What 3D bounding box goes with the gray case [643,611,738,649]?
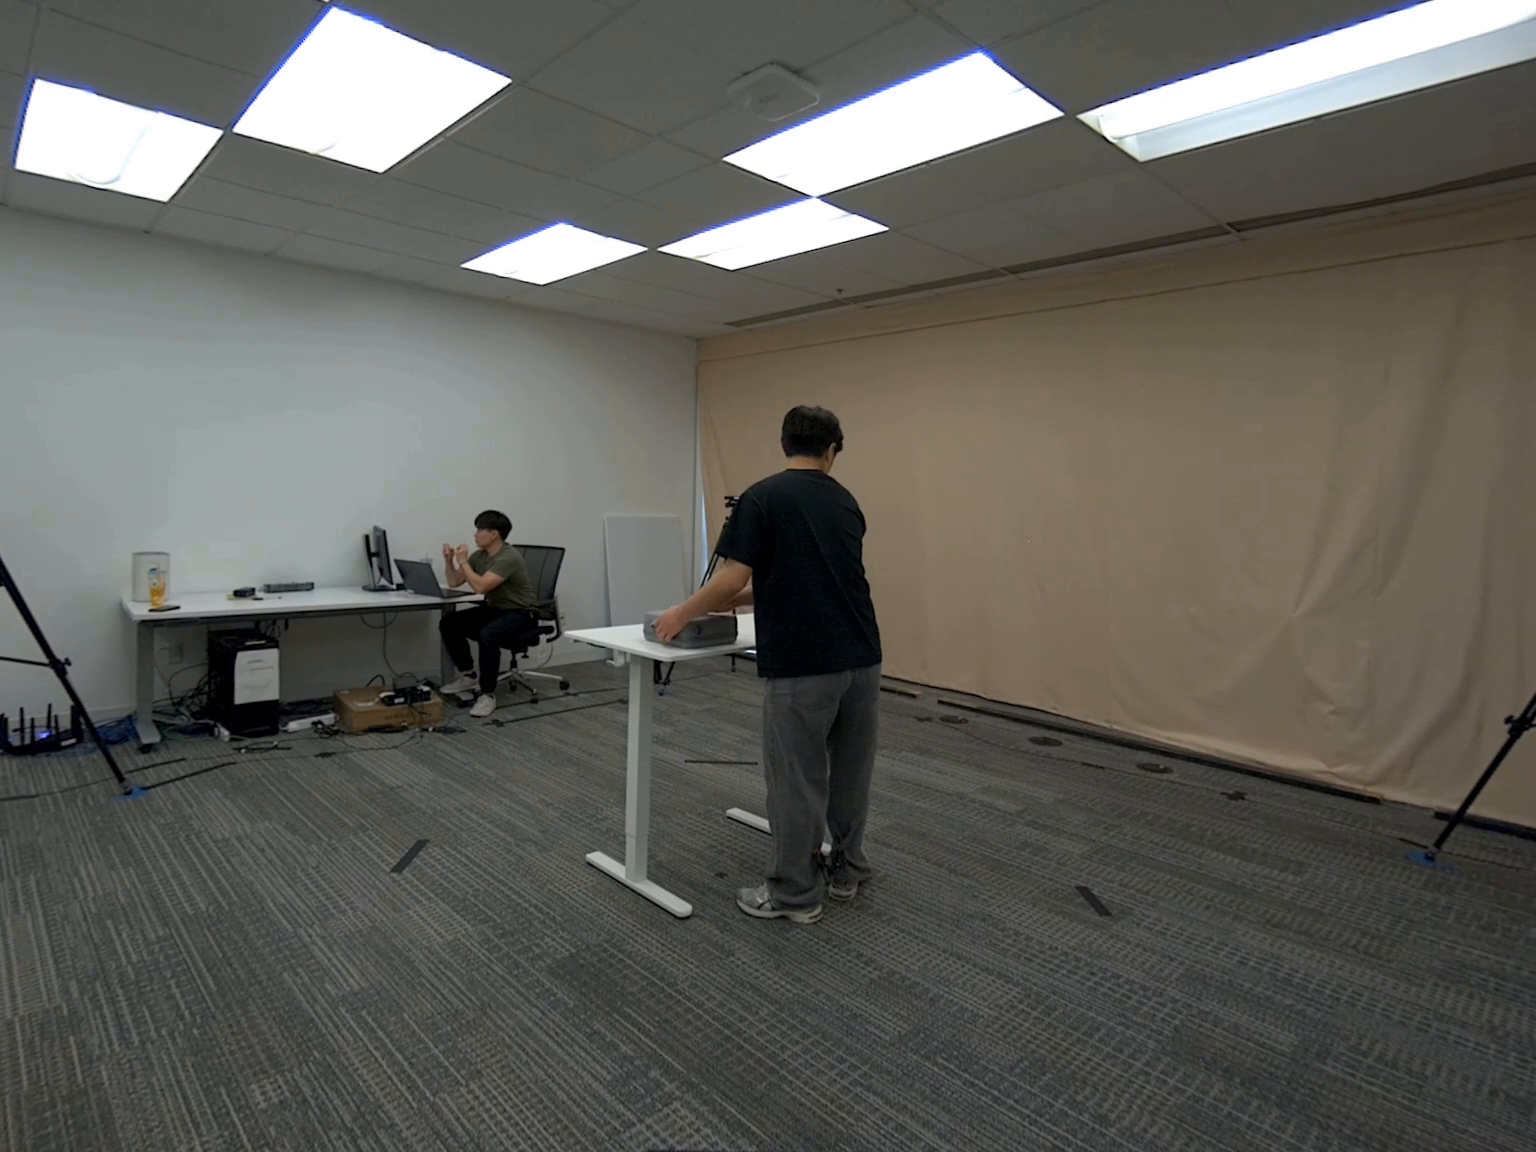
[{"bbox_3d":[-0.280,0.181,2.953,0.264,0.104,0.255,9,9,44],"label":"gray case"}]
